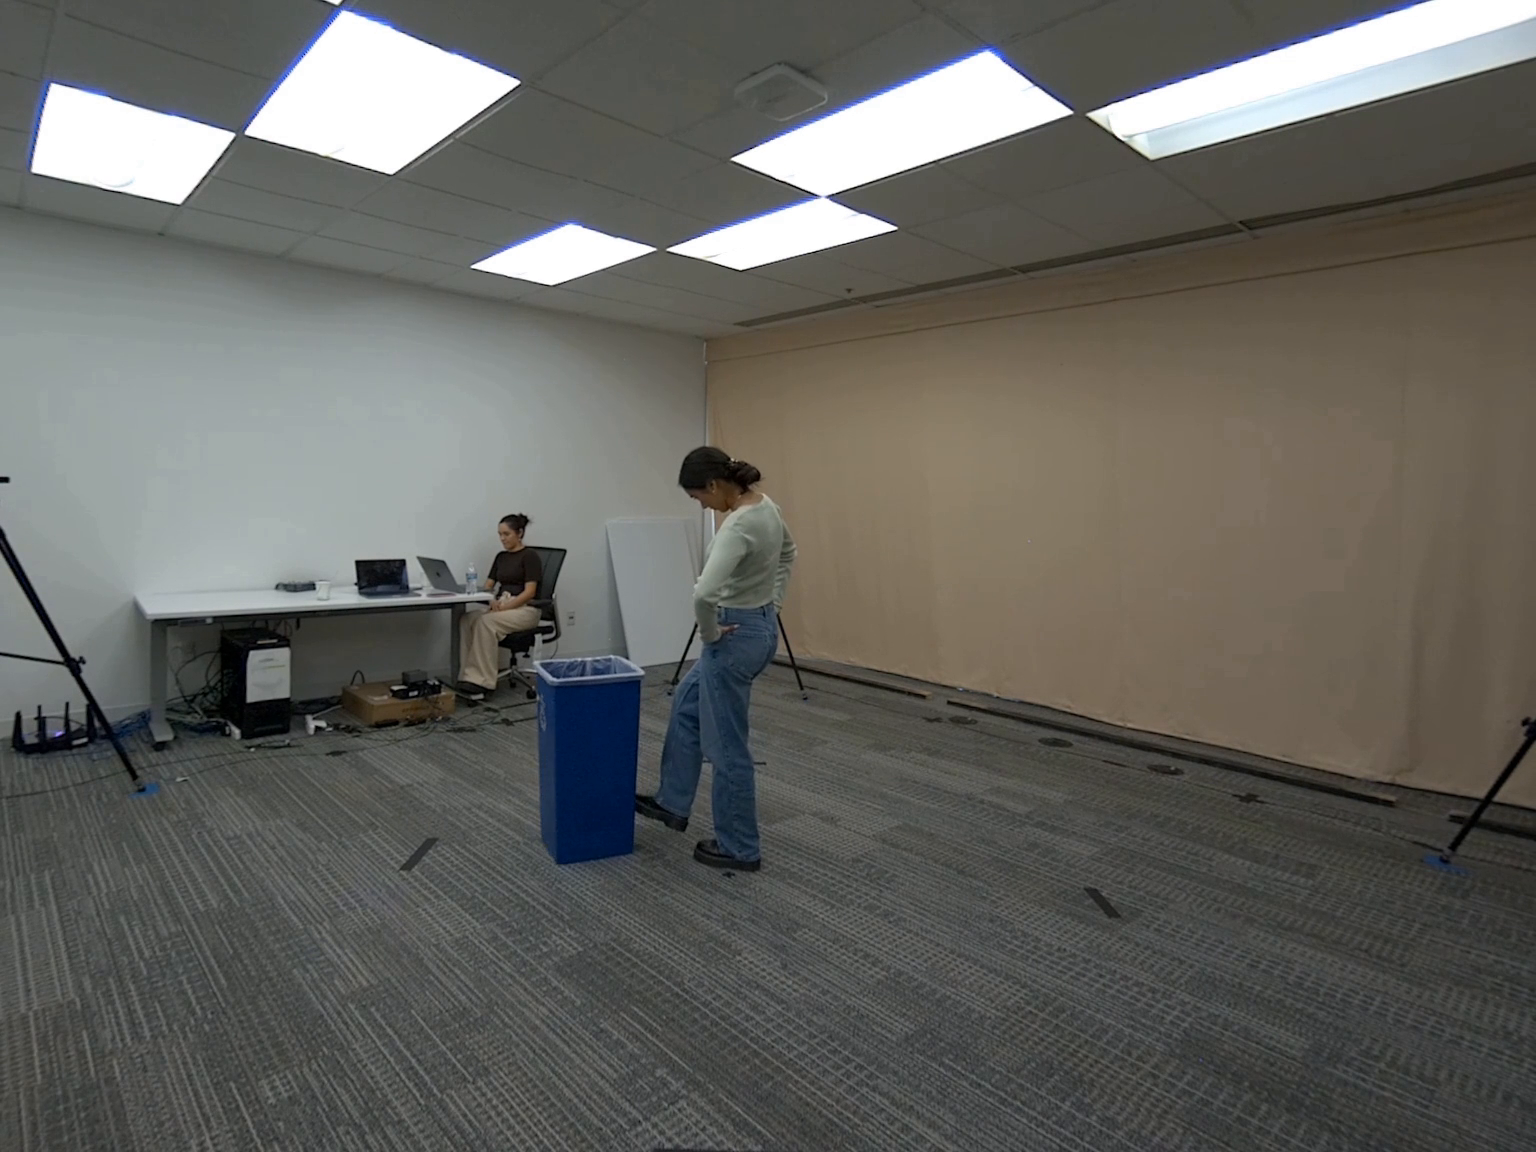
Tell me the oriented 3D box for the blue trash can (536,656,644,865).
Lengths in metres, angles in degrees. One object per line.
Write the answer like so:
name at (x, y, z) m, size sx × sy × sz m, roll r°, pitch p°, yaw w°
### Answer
blue trash can at (-0.723, 0.709, 3.317) m, size 0.367 × 0.712 × 0.386 m, roll -1°, pitch 4°, yaw -27°
